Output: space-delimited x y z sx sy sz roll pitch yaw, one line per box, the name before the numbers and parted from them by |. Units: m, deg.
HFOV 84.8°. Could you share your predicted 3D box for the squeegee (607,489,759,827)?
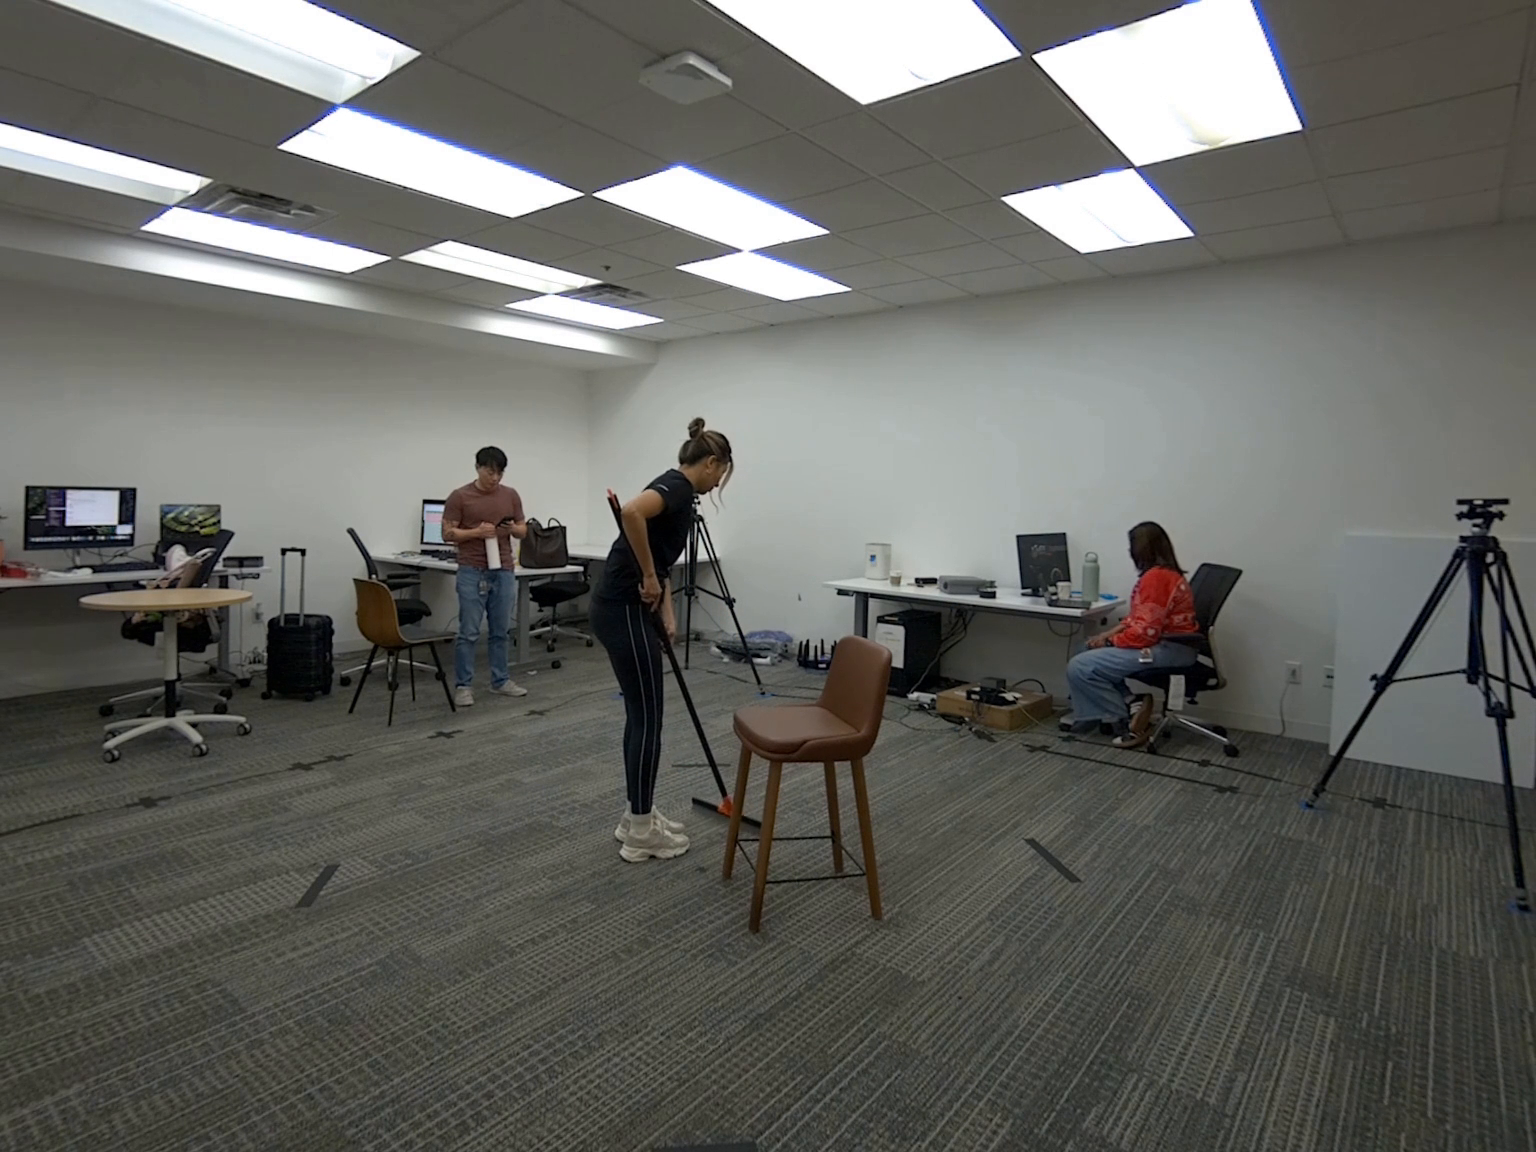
squeegee | -0.340 0.341 3.245 0.453 1.496 0.052 9 35 43
